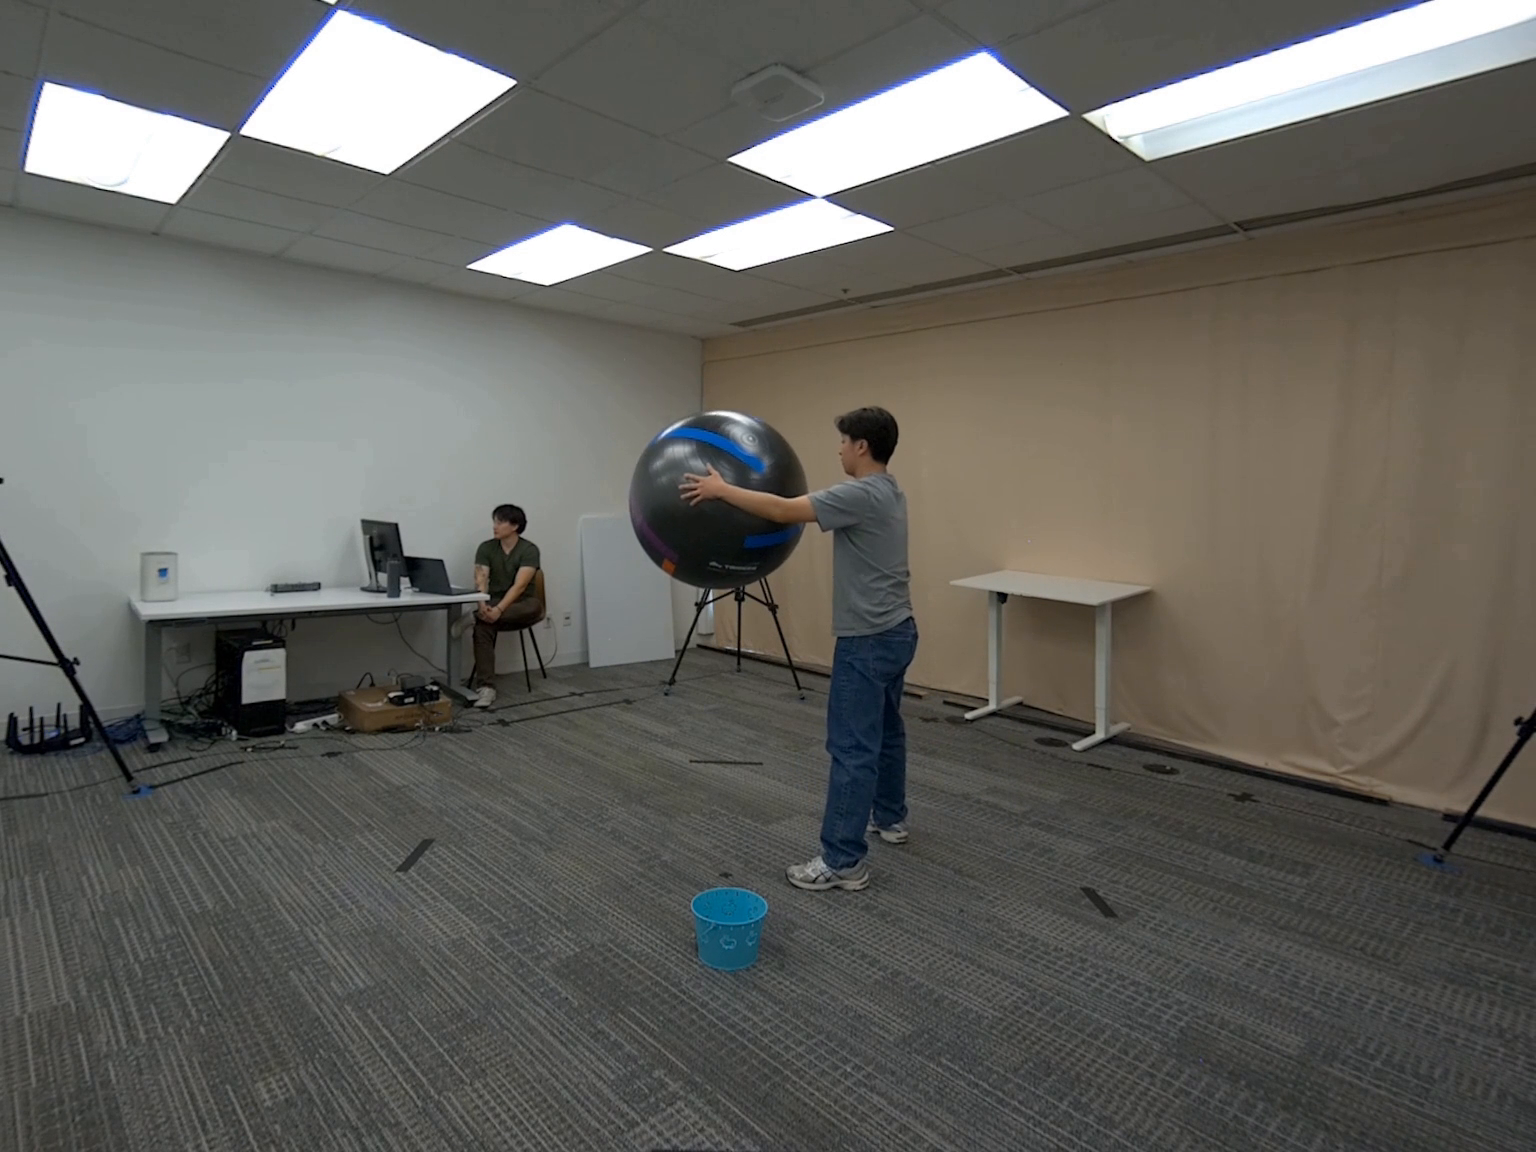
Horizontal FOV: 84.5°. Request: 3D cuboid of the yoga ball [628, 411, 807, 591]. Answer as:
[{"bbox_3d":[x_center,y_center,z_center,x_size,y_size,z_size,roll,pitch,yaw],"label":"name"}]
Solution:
[{"bbox_3d":[-0.213,-0.306,3.575,0.757,0.756,0.761,1,4,-1],"label":"yoga ball"}]
